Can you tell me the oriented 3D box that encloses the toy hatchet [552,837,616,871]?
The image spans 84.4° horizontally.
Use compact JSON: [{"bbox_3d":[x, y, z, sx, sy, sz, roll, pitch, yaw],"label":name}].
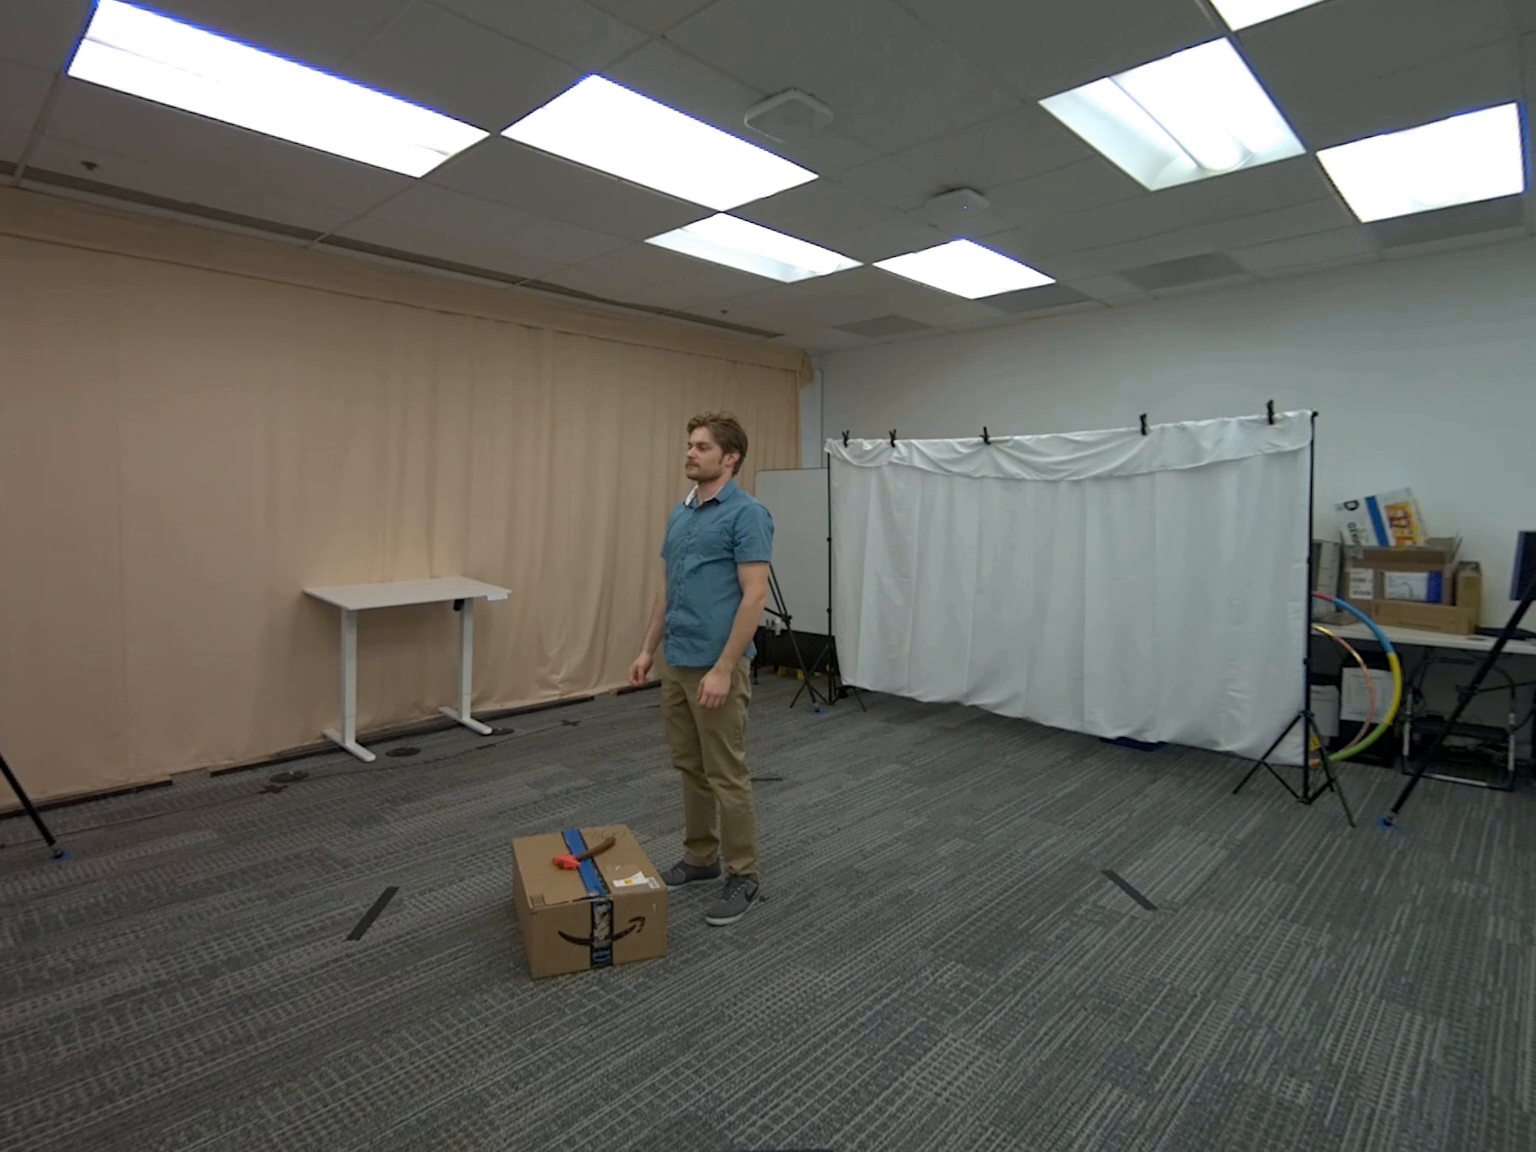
[{"bbox_3d":[-0.621,0.927,2.842,0.134,0.029,0.264,-4,0,19],"label":"toy hatchet"}]
